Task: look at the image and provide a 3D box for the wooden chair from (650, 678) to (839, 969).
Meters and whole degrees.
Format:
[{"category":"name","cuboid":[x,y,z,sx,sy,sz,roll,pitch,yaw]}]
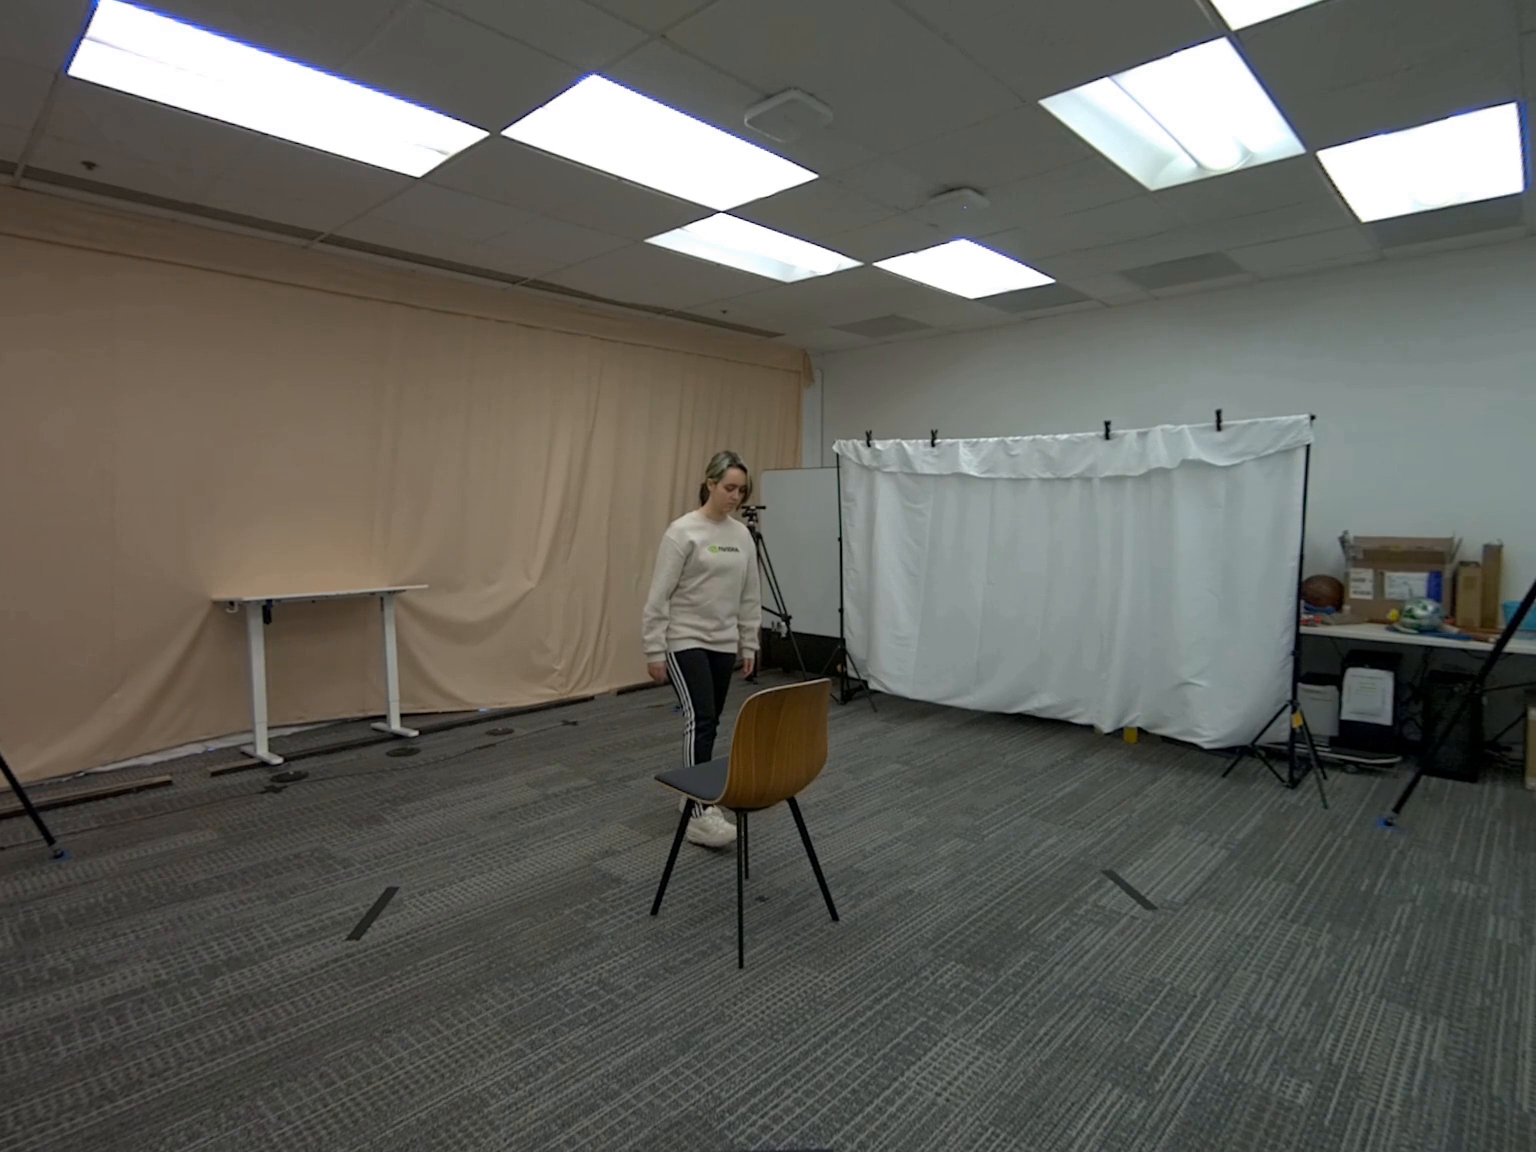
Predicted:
[{"category":"wooden chair","cuboid":[-0.084,0.727,2.825,0.463,0.874,0.541,-3,9,-43]}]
